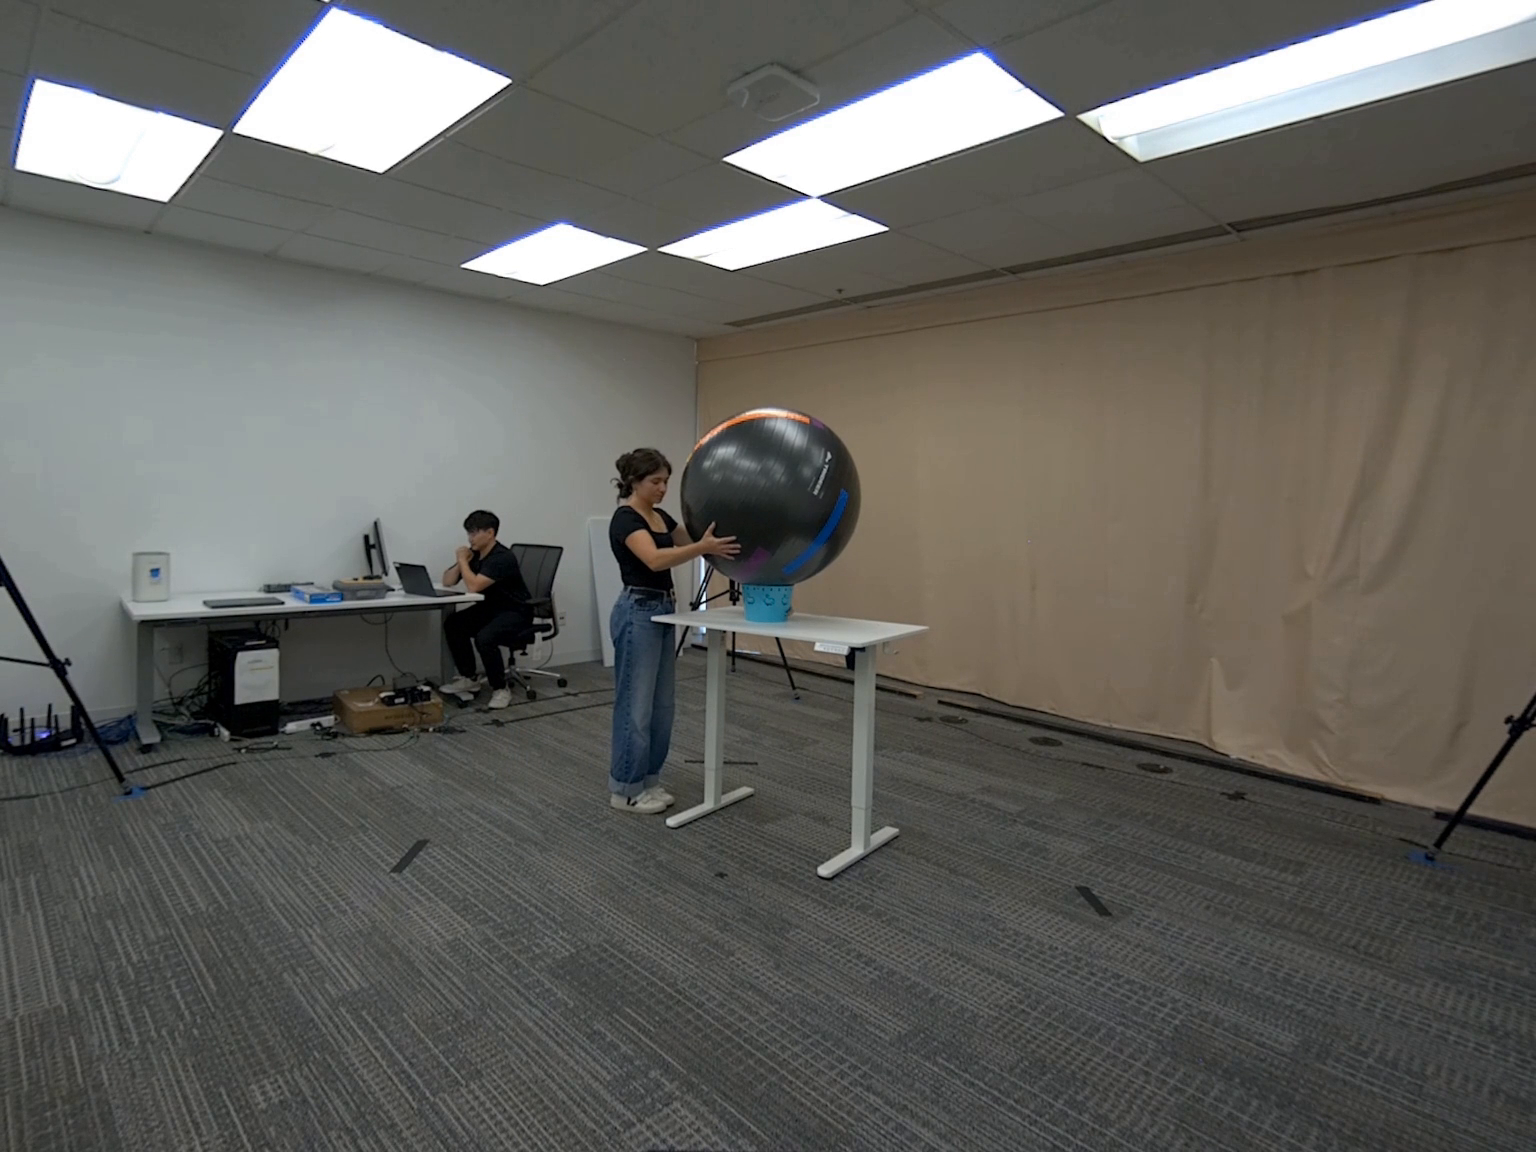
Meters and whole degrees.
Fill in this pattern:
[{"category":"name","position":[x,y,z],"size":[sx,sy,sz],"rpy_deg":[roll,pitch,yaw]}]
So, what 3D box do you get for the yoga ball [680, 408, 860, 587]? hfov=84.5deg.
[{"category":"yoga ball","position":[-0.001,-0.325,3.559],"size":[0.757,0.756,0.761],"rpy_deg":[1,4,-1]}]
